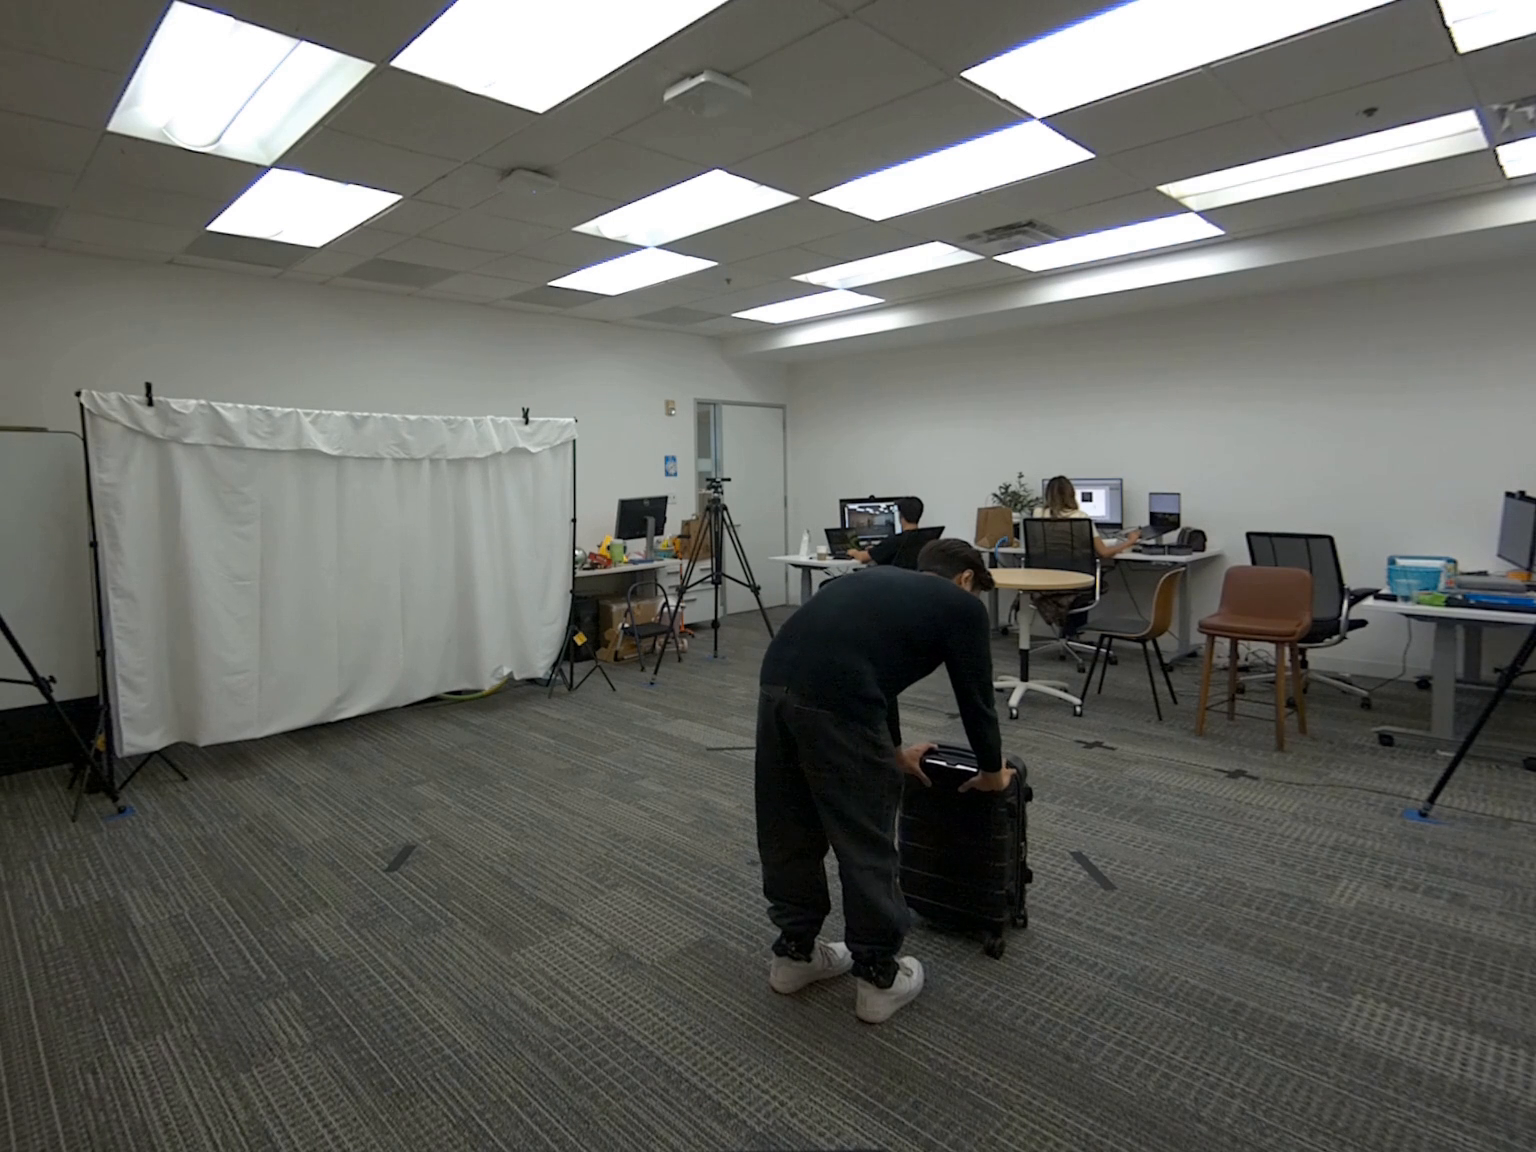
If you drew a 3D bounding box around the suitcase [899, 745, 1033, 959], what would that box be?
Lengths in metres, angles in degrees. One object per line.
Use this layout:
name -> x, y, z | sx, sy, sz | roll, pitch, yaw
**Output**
suitcase -> 0.609, 0.808, 2.654 | 0.386, 0.548, 0.242 | 2, 3, 37
